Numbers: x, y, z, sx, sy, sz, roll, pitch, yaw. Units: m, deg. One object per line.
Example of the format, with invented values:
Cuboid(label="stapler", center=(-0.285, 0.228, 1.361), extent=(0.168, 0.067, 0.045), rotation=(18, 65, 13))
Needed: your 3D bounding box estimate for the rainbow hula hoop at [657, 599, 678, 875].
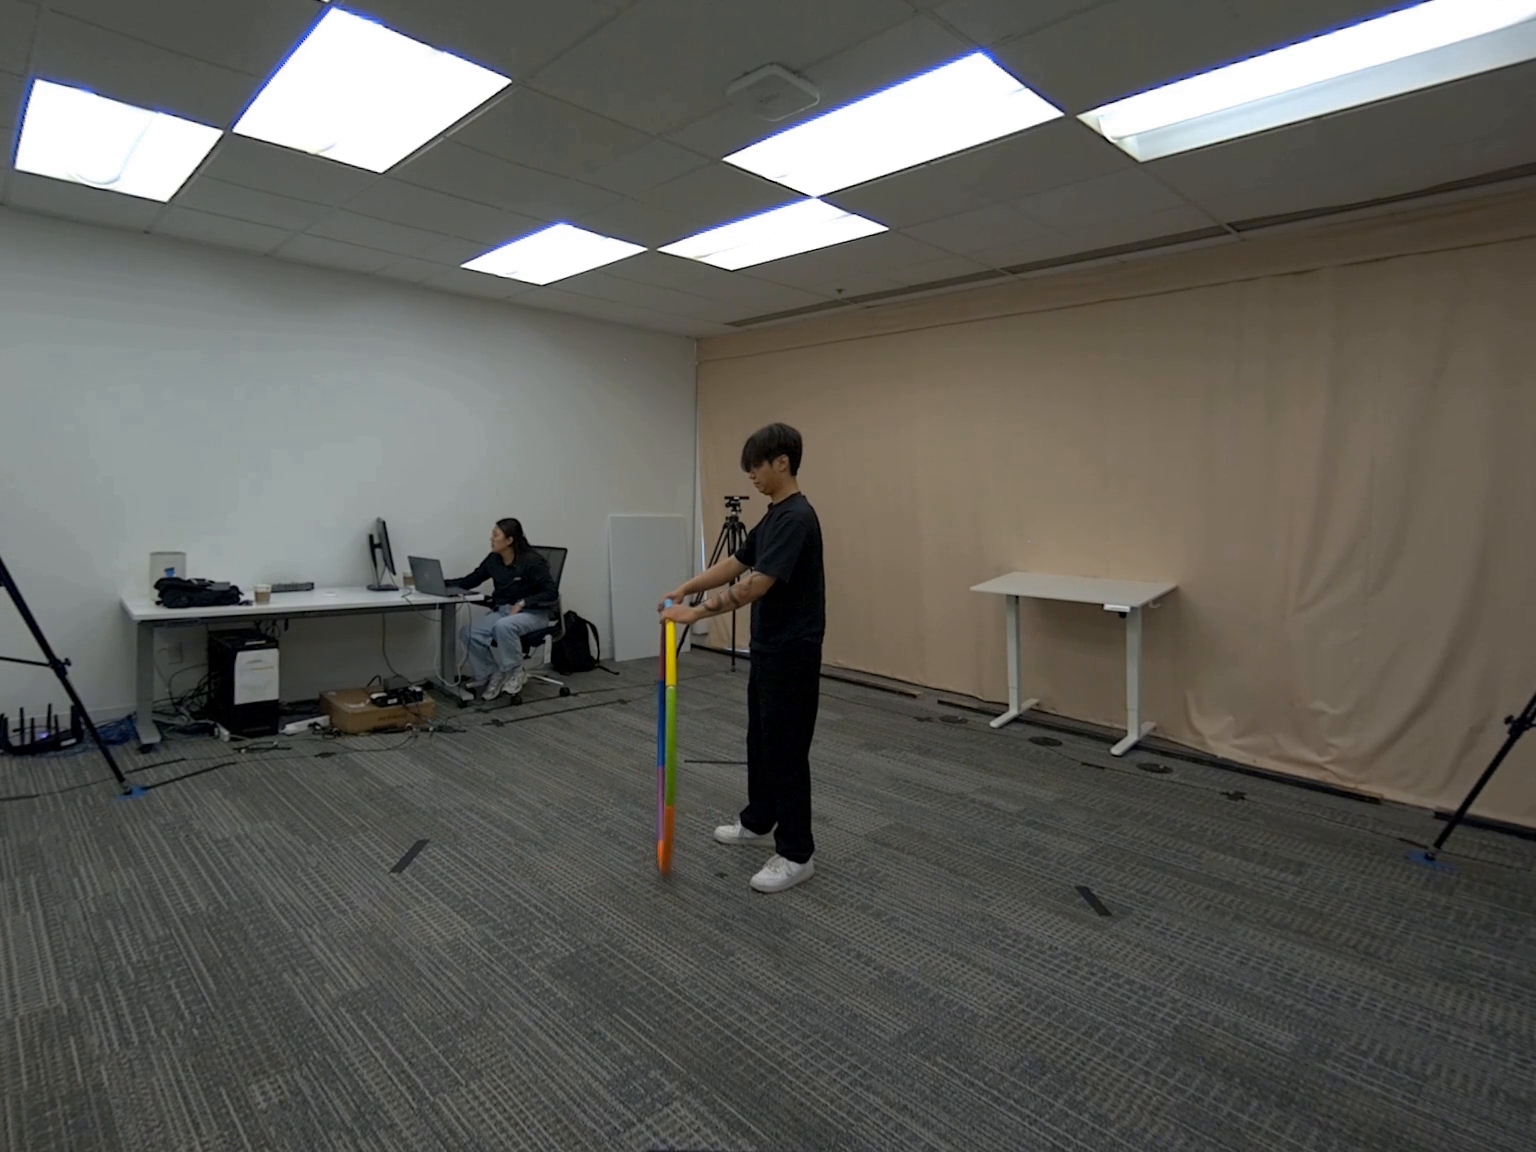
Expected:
Cuboid(label="rainbow hula hoop", center=(-0.392, 0.596, 3.153), extent=(0.035, 0.976, 0.988), rotation=(1, 4, -10))
